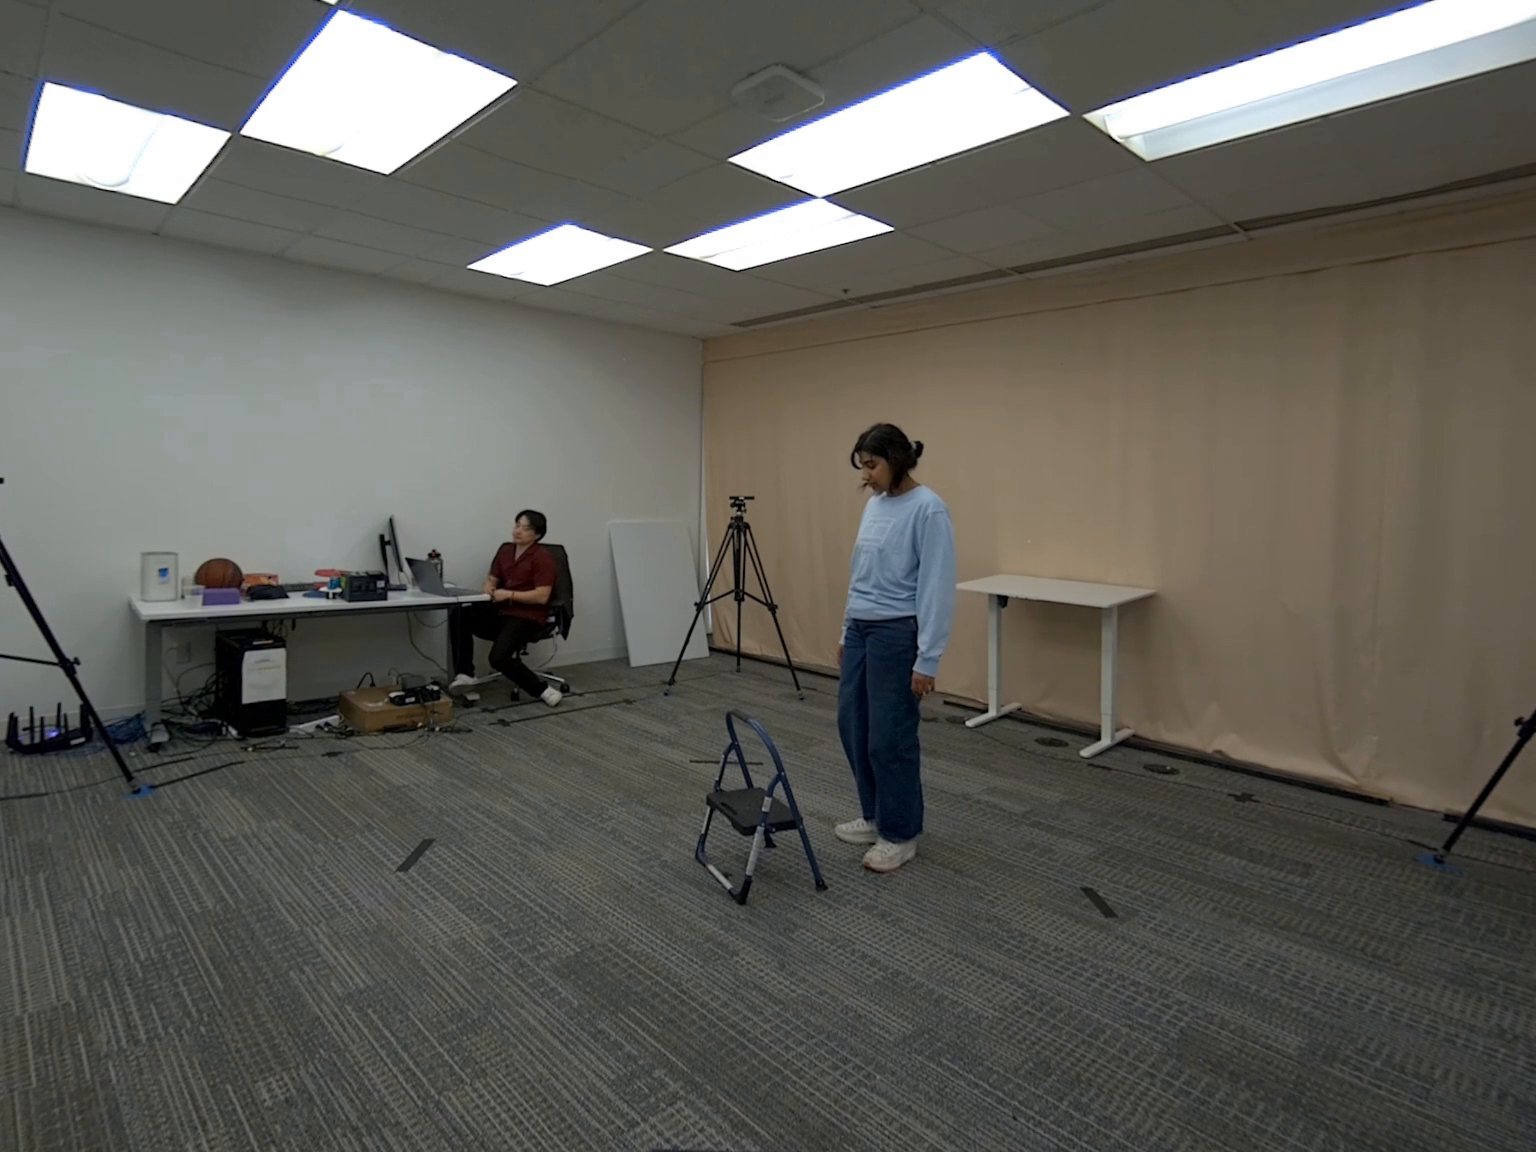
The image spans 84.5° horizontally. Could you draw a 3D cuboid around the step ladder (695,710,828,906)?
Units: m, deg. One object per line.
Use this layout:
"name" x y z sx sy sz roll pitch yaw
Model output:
"step ladder" -0.037 0.804 3.109 0.343 0.605 0.440 0 4 -27
